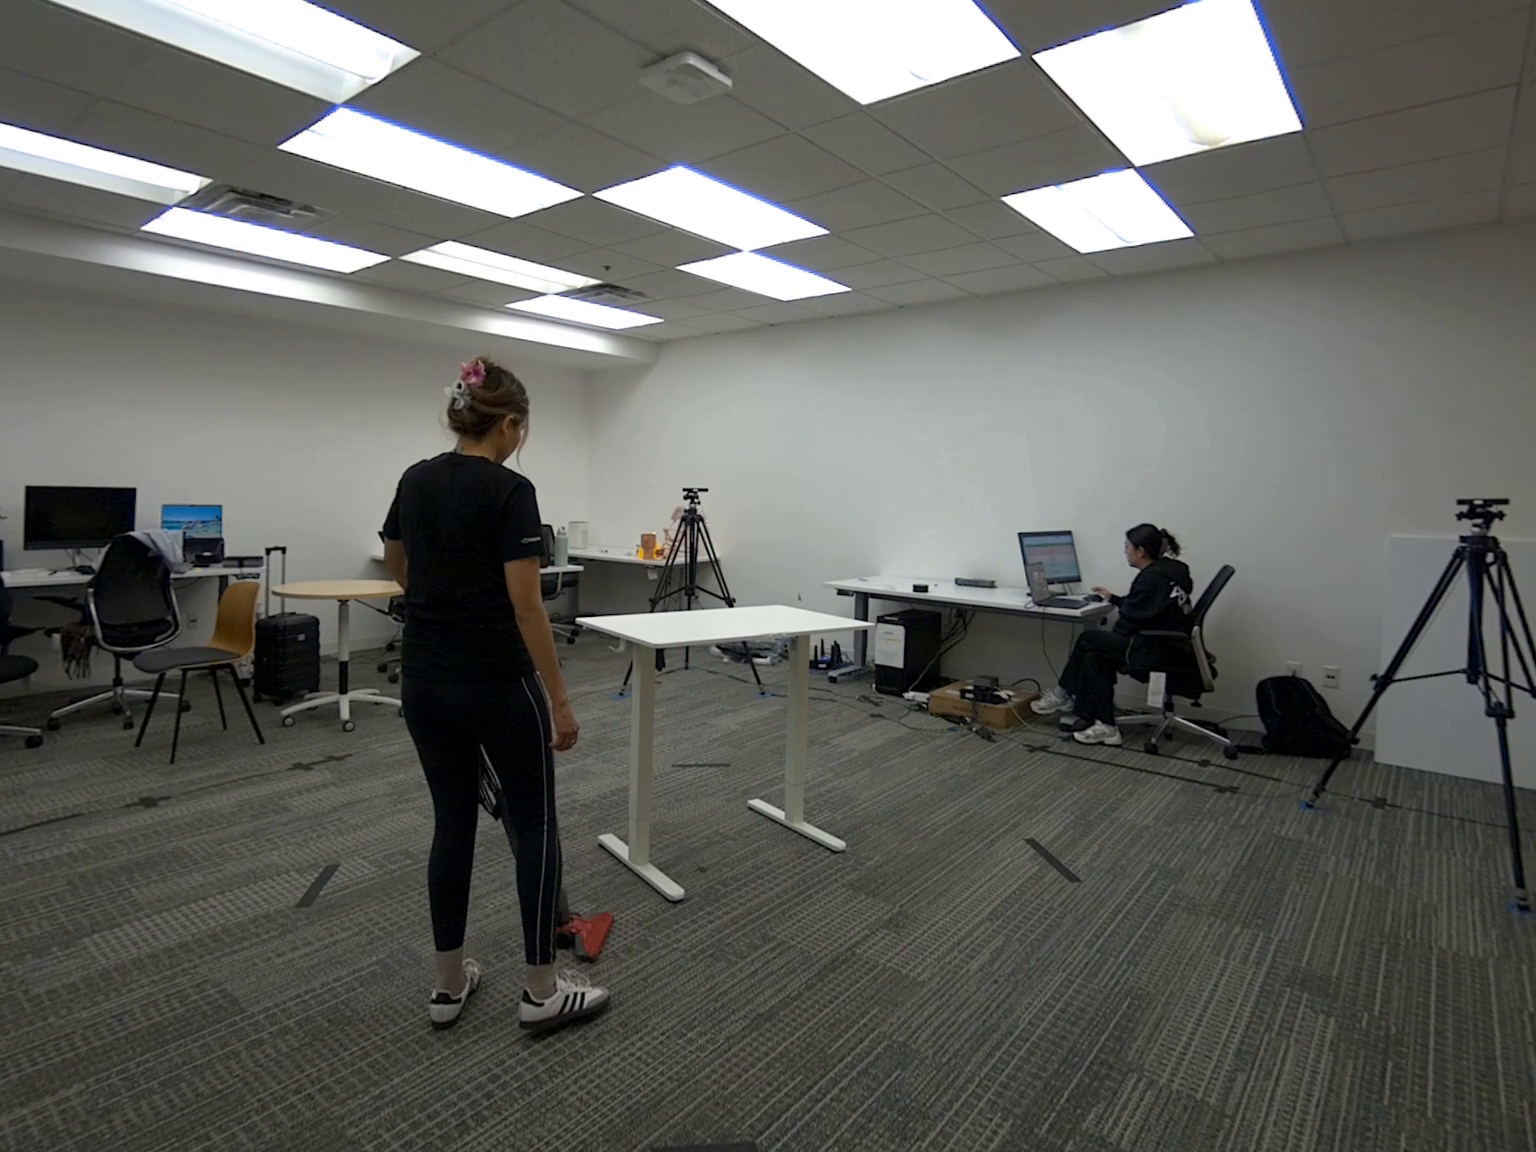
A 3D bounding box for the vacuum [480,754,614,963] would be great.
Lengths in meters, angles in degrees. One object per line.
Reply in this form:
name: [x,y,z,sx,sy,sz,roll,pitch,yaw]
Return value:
vacuum: [-0.824,0.647,2.616,0.145,1.052,0.250,-29,-2,12]
